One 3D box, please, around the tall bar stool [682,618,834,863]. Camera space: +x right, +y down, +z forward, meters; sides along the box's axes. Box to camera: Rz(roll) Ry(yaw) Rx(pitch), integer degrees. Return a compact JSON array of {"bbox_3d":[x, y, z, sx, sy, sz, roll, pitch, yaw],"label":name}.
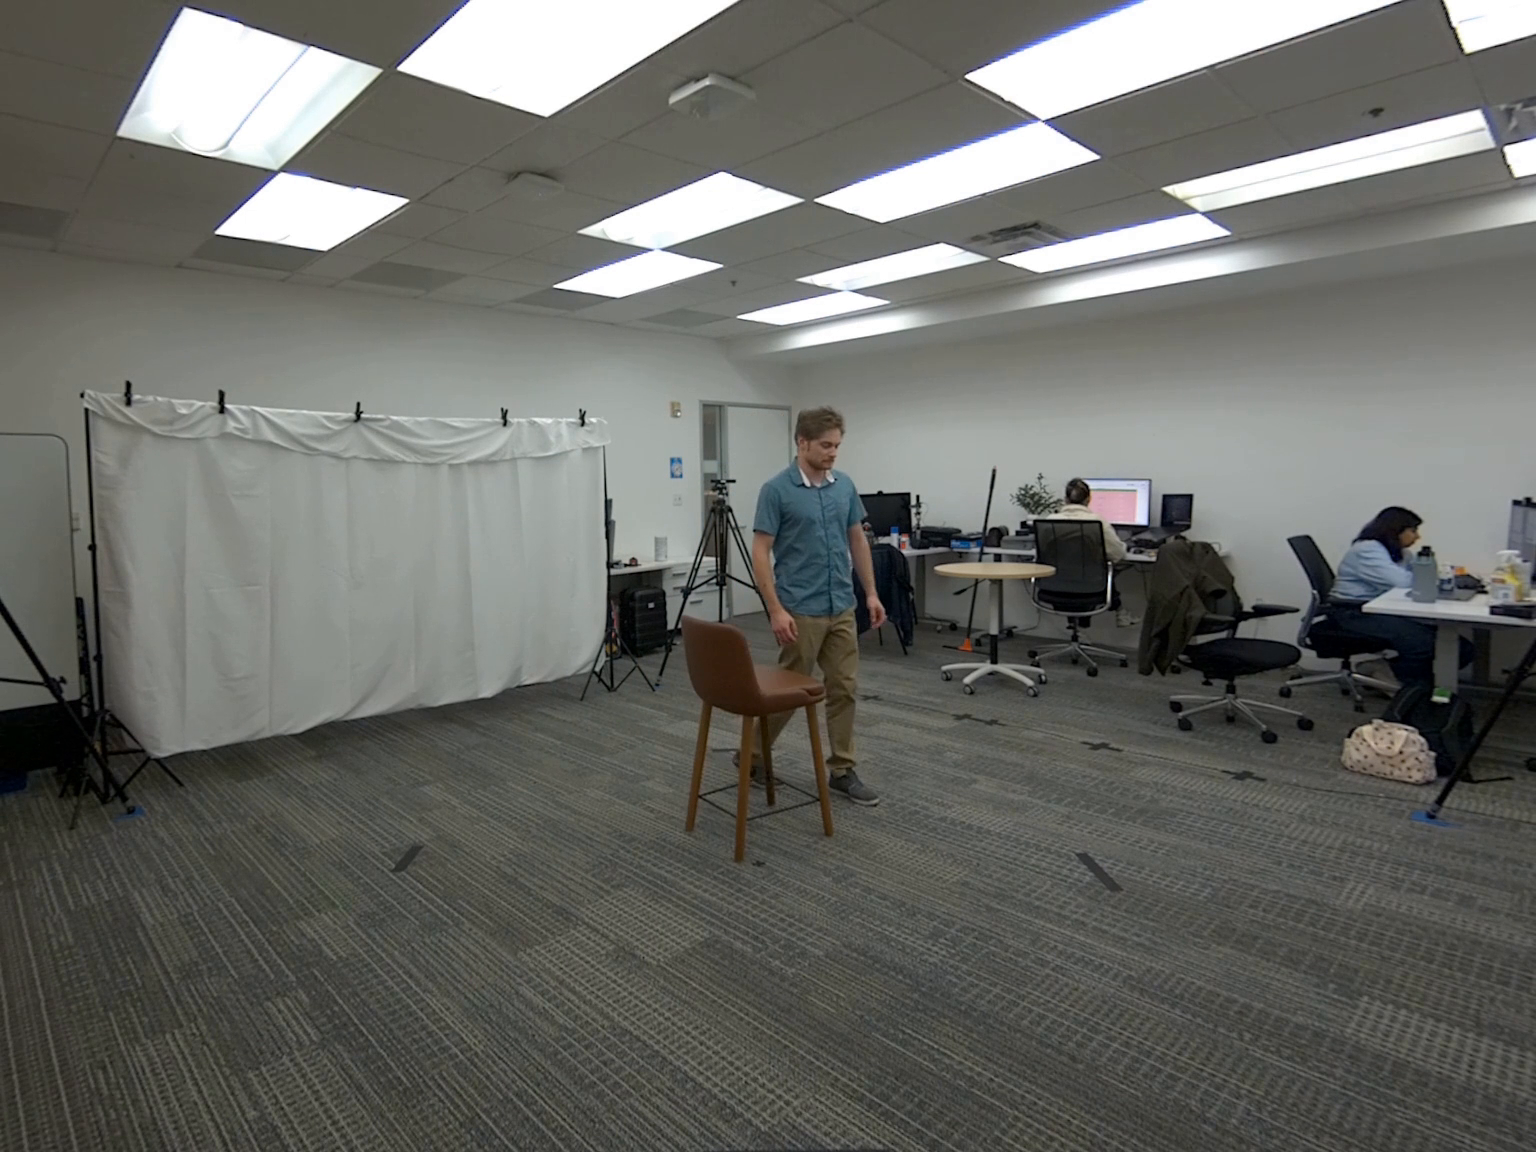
[{"bbox_3d":[-0.055,0.582,3.363,0.456,0.885,0.470,-6,6,-35],"label":"tall bar stool"}]
